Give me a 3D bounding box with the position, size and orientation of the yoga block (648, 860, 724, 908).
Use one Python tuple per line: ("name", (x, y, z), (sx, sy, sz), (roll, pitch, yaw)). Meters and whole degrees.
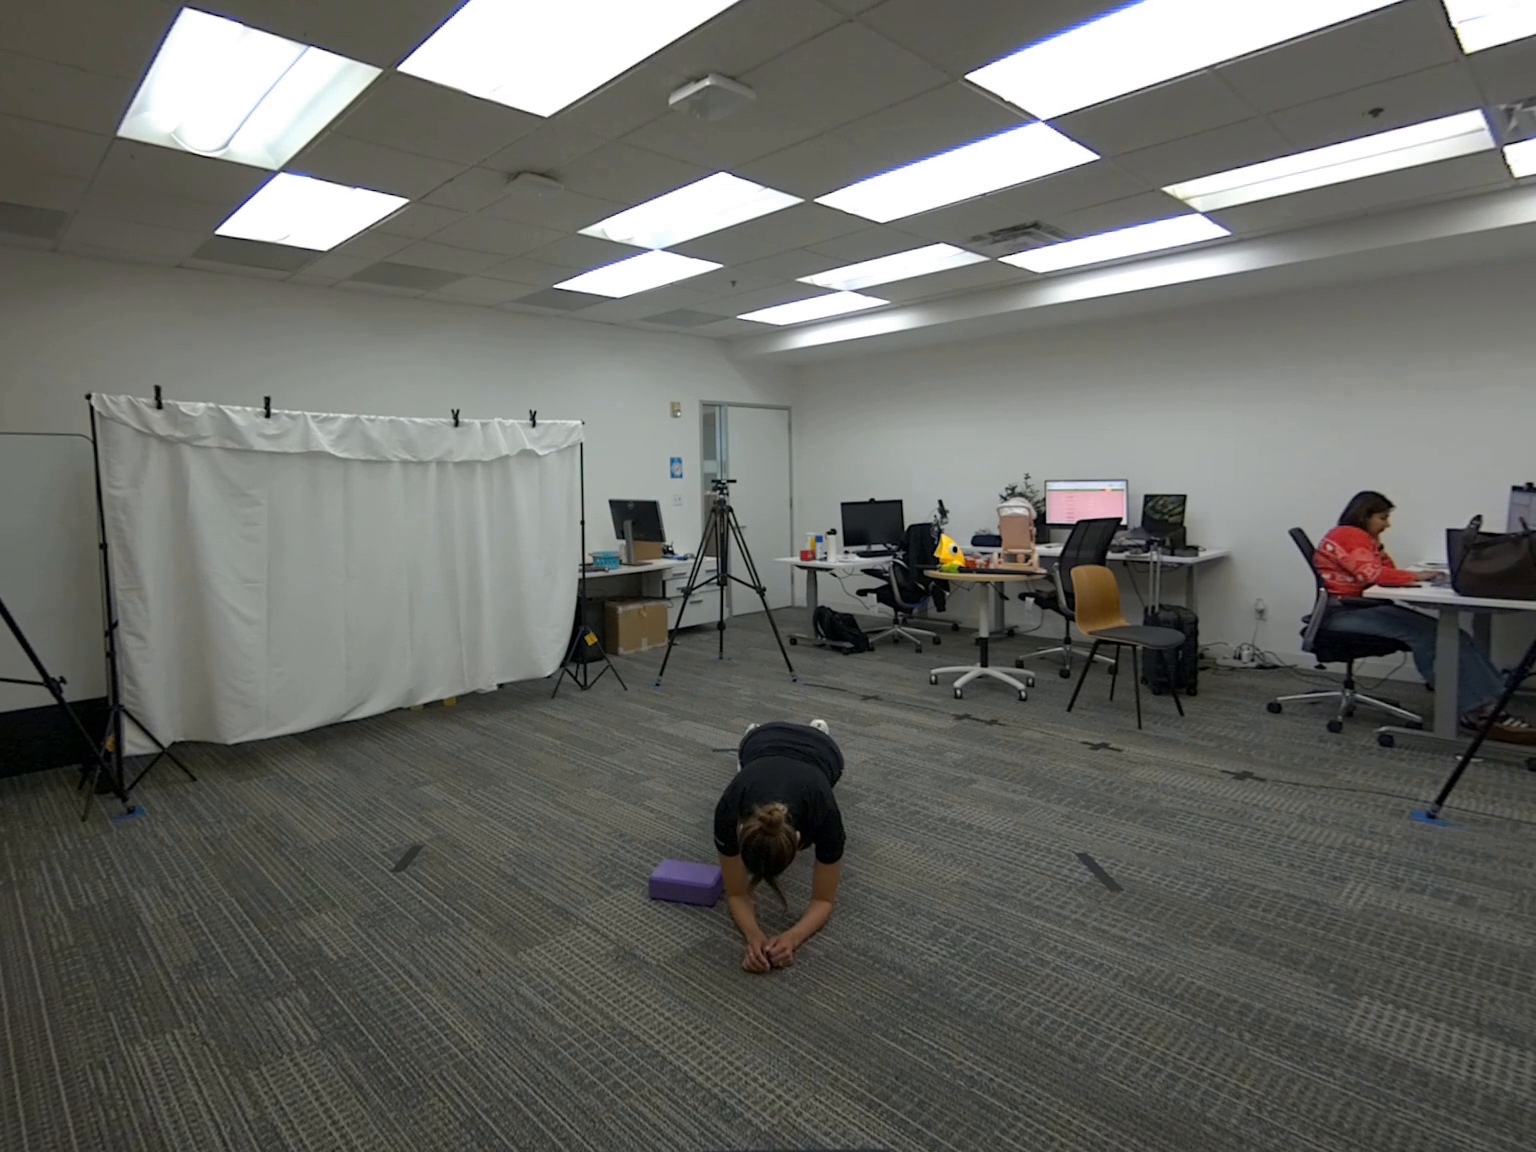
("yoga block", (-0.266, 1.037, 2.891), (0.233, 0.076, 0.147), (2, 7, 17))
